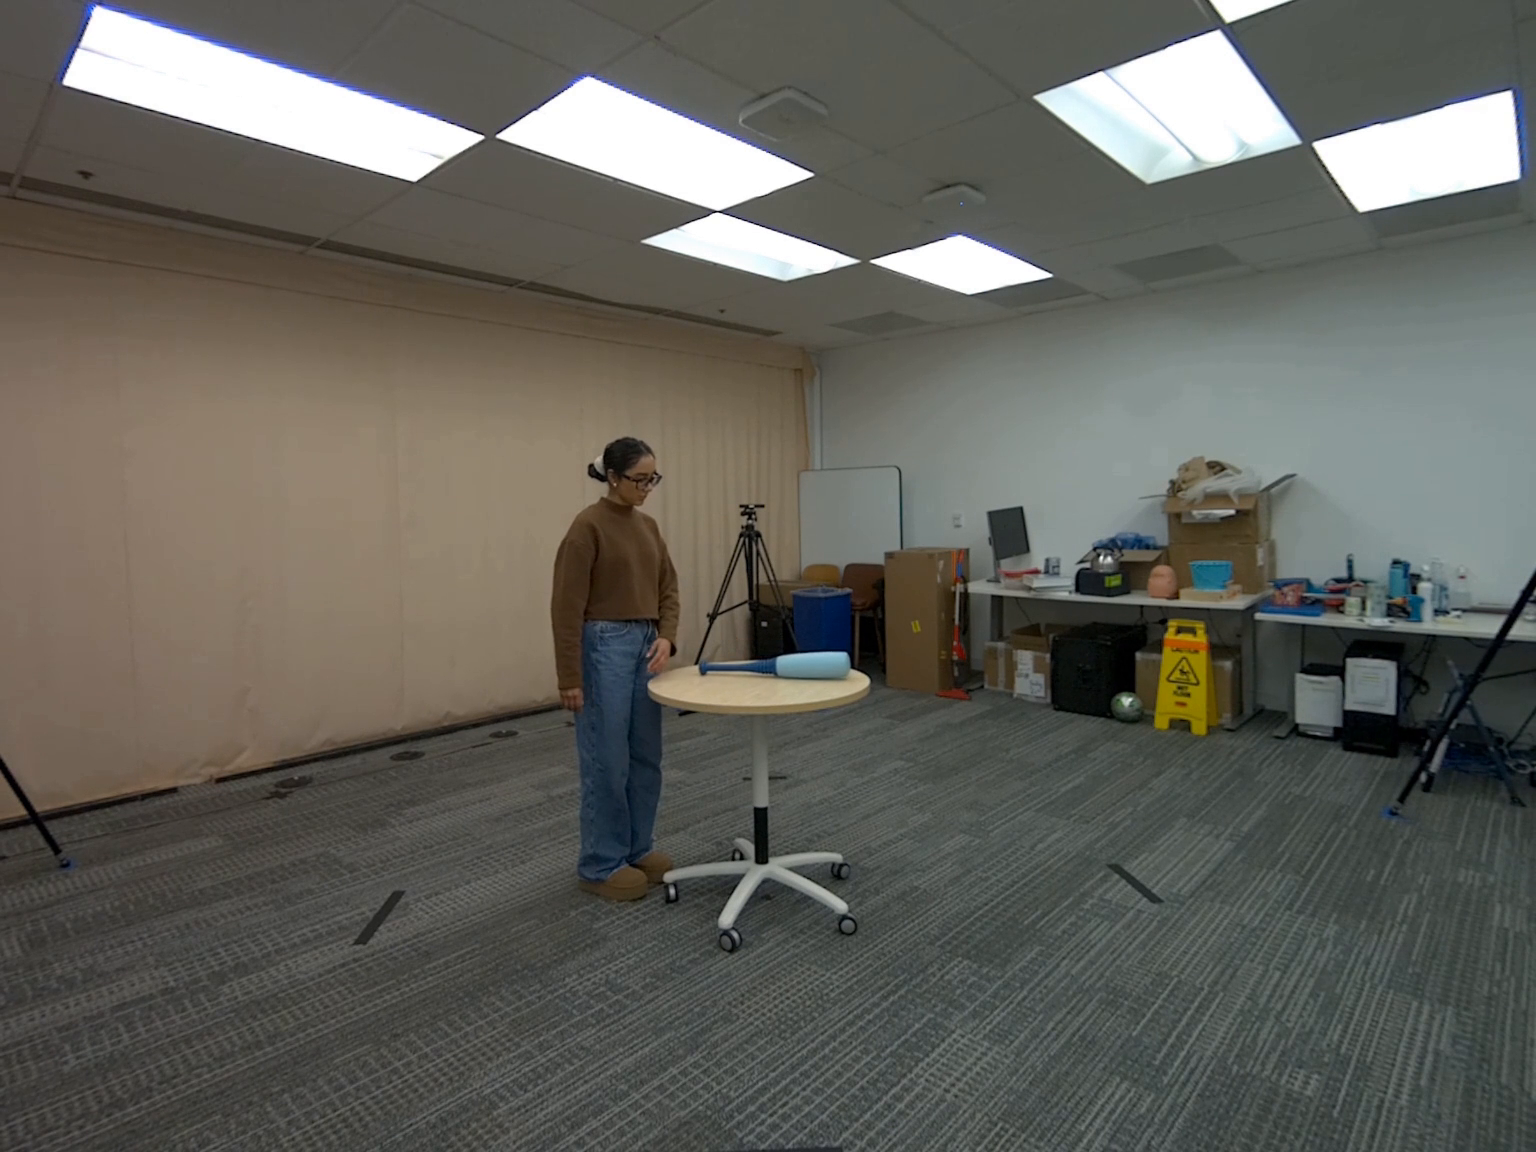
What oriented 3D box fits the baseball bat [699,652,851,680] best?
[{"bbox_3d":[0.020,0.323,2.962,0.551,0.089,0.088,-4,3,15],"label":"baseball bat"}]
